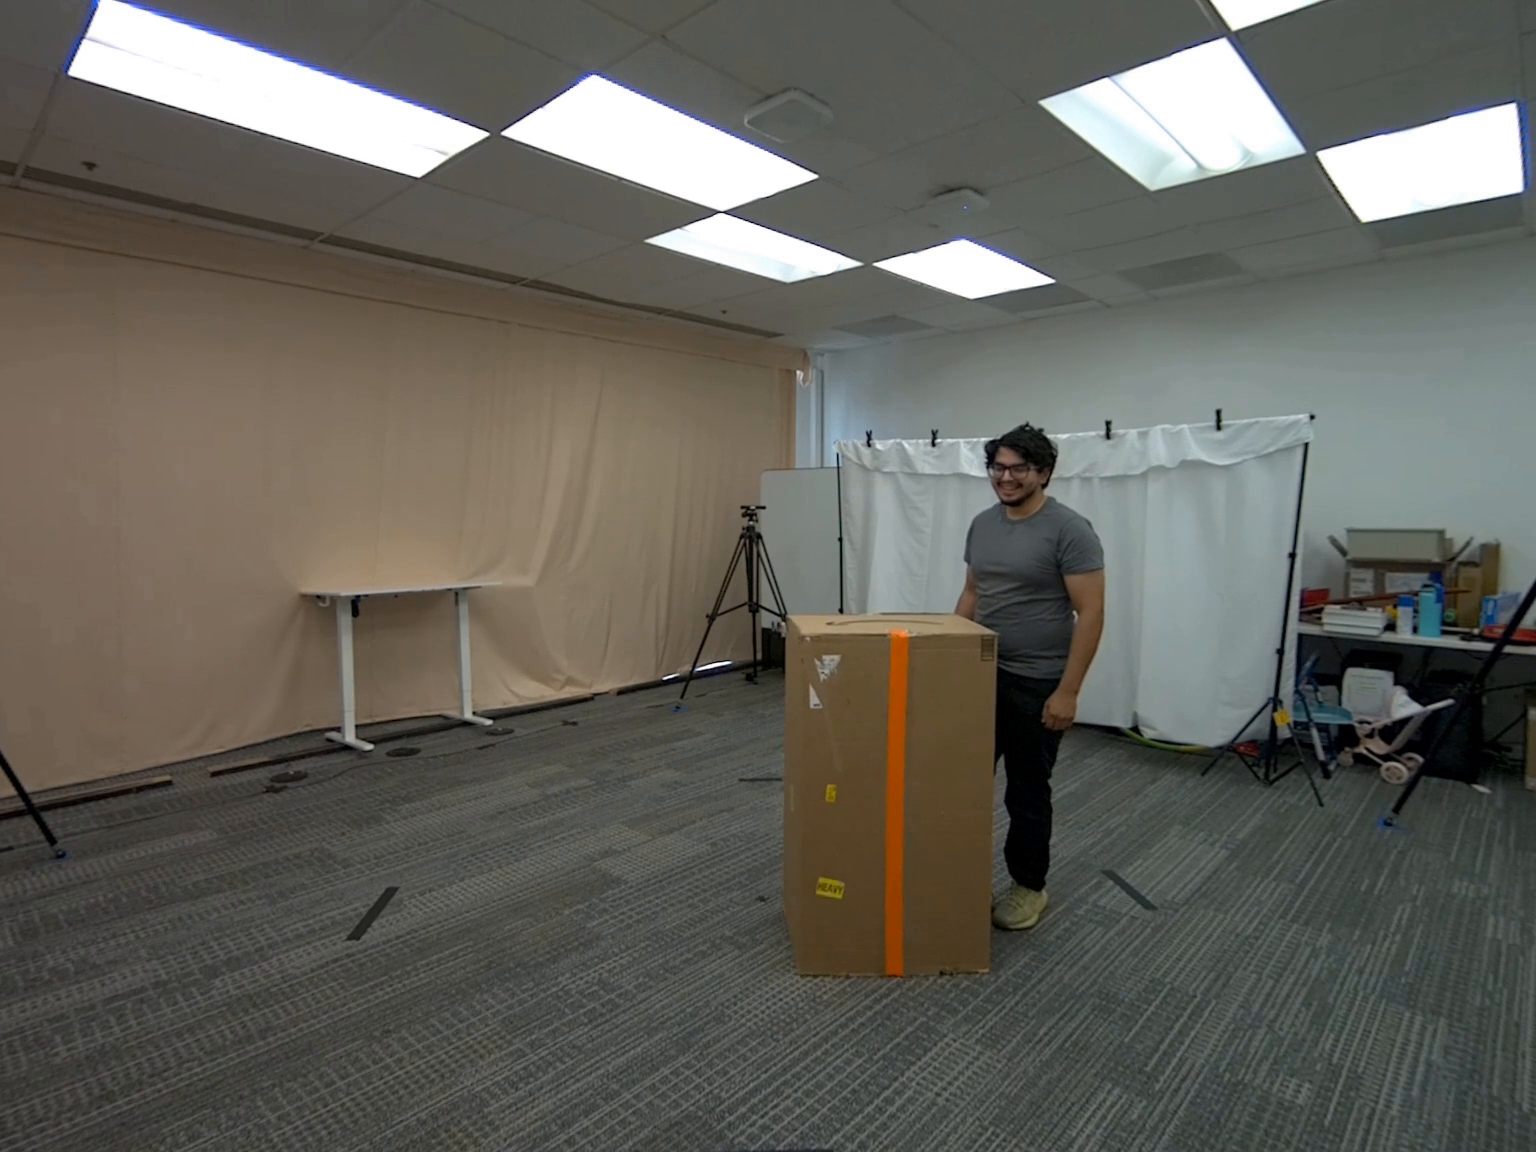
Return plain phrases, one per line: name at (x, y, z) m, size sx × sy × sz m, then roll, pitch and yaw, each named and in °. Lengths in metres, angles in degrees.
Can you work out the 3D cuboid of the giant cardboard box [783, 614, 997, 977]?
giant cardboard box at (0.362, 0.664, 2.675) m, size 0.582 × 1.025 × 0.449 m, roll 0°, pitch 3°, yaw -3°
